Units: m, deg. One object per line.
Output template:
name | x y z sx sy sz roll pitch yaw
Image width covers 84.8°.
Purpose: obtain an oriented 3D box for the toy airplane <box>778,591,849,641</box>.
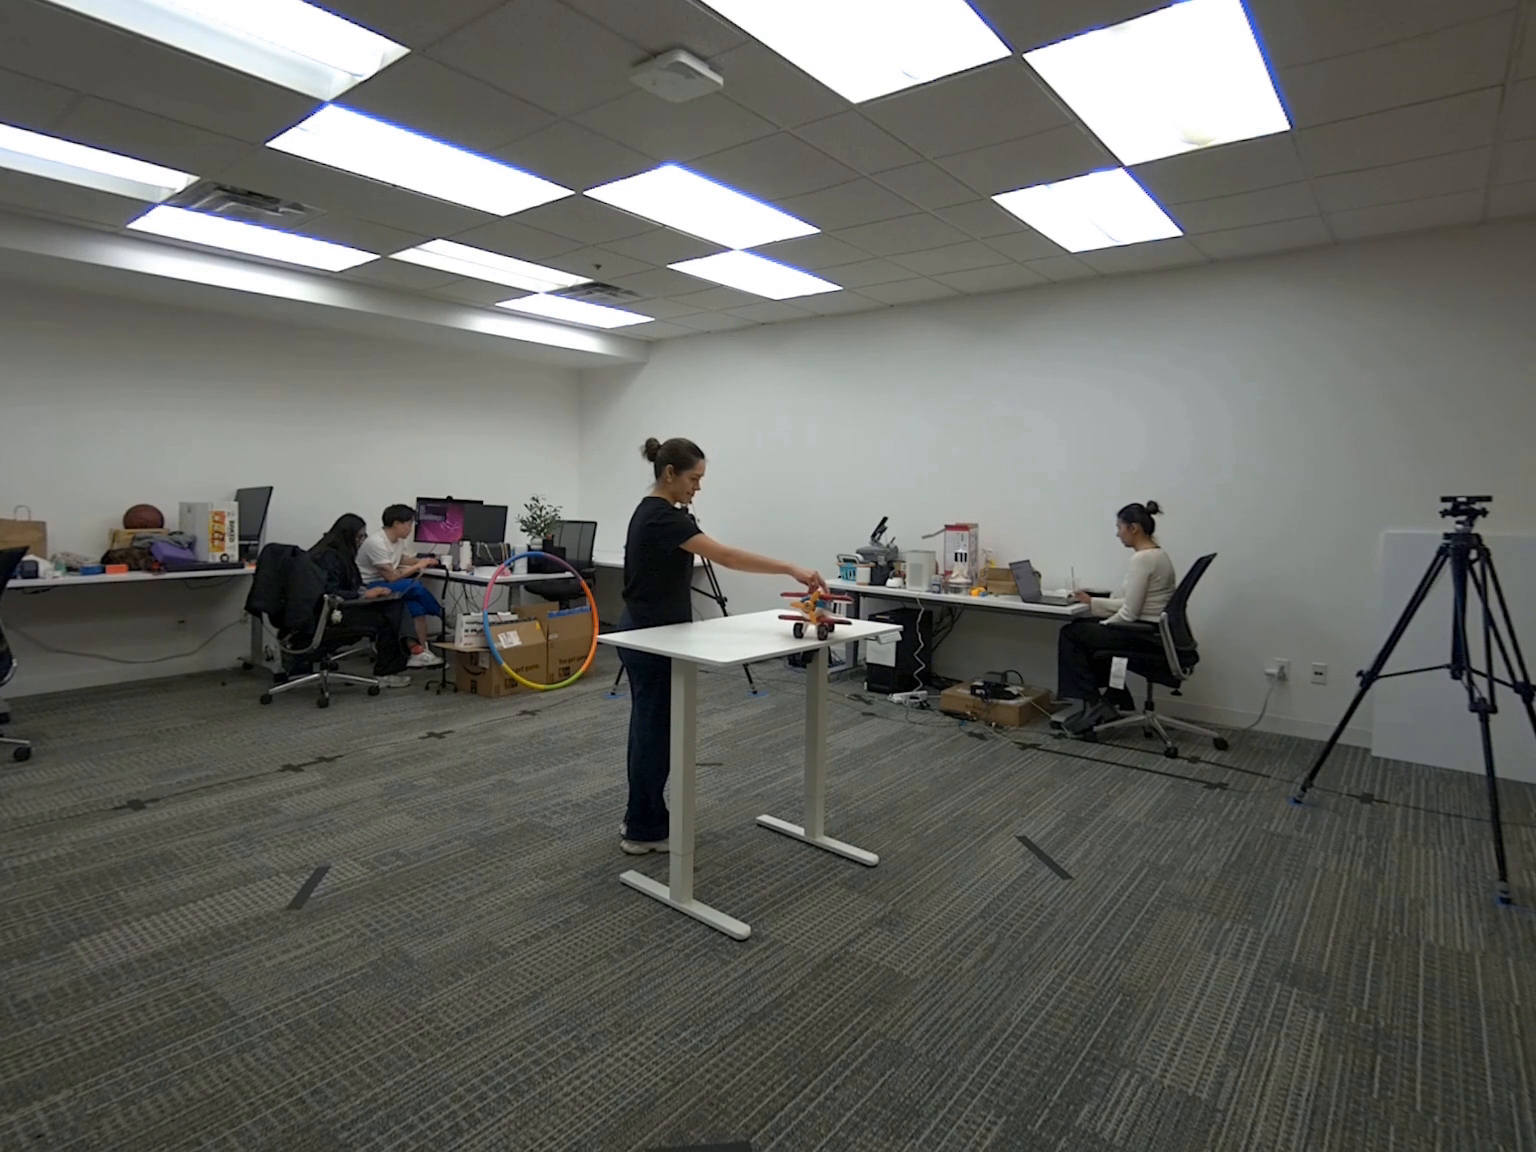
toy airplane | 0.168 0.126 2.973 0.250 0.156 0.262 0 6 -6
